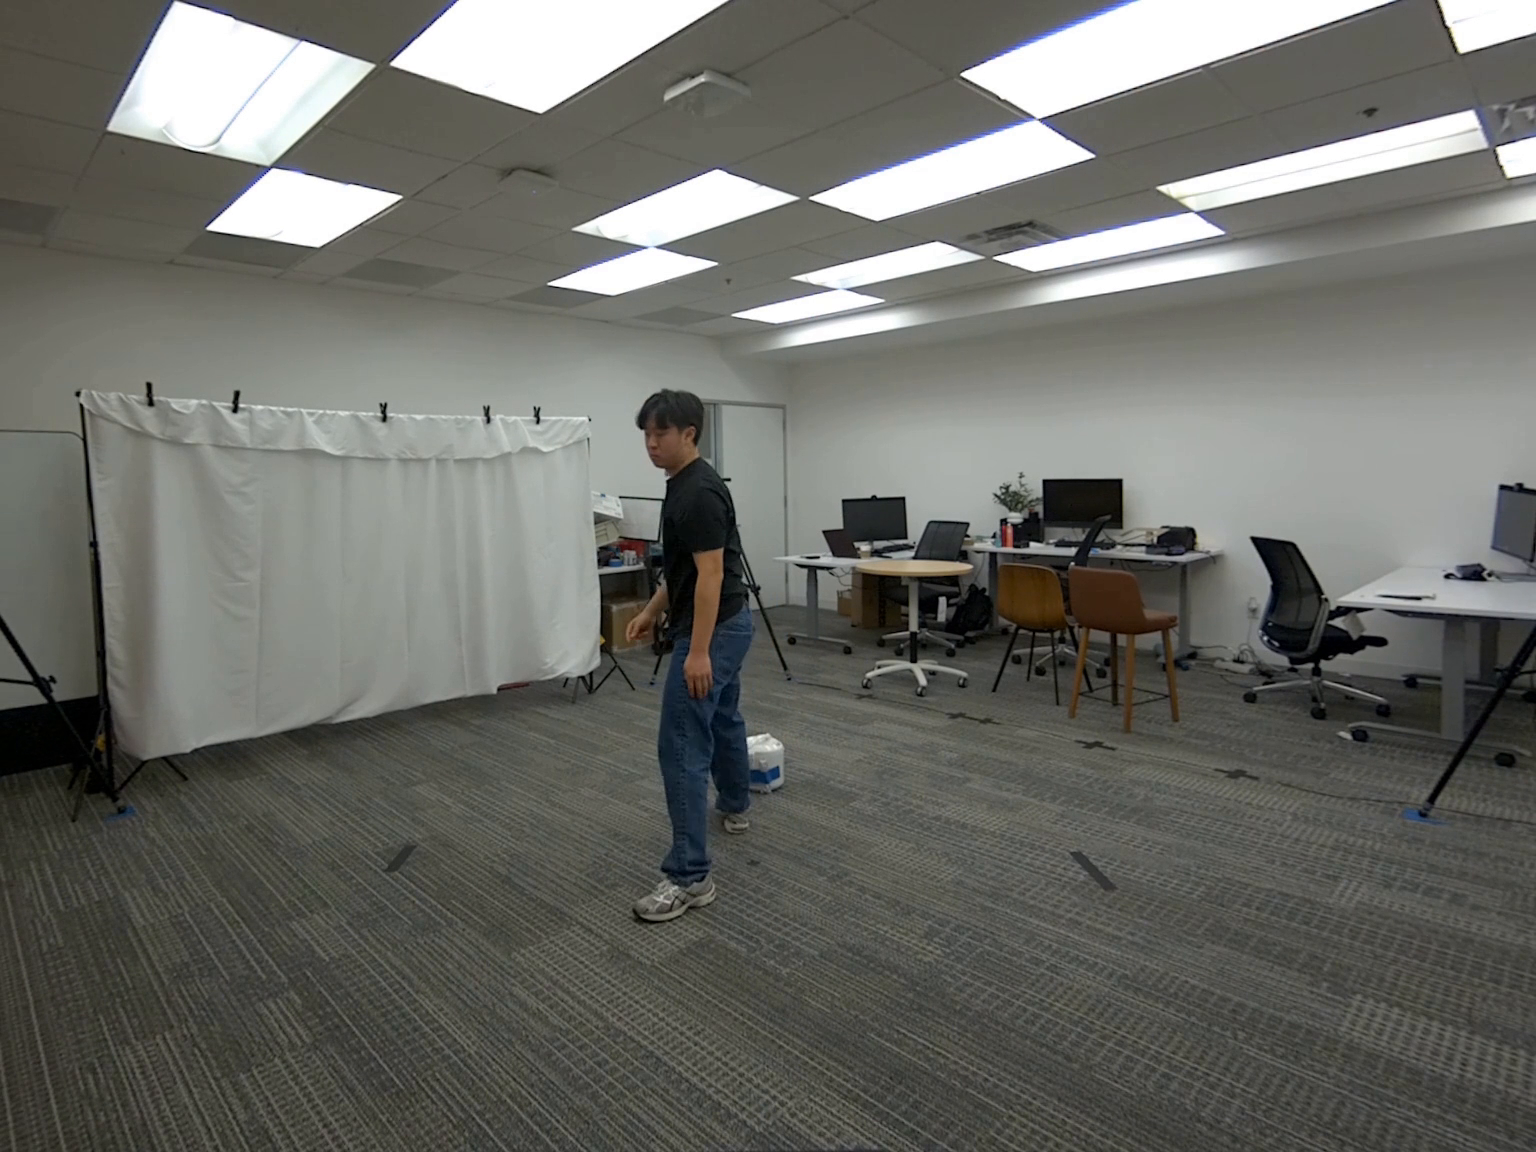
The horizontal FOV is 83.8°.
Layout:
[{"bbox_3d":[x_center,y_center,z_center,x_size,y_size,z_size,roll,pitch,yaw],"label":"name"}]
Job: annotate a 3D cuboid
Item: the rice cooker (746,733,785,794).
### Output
[{"bbox_3d":[-0.032,0.839,3.881,0.224,0.232,0.215,3,6,36],"label":"rice cooker"}]
